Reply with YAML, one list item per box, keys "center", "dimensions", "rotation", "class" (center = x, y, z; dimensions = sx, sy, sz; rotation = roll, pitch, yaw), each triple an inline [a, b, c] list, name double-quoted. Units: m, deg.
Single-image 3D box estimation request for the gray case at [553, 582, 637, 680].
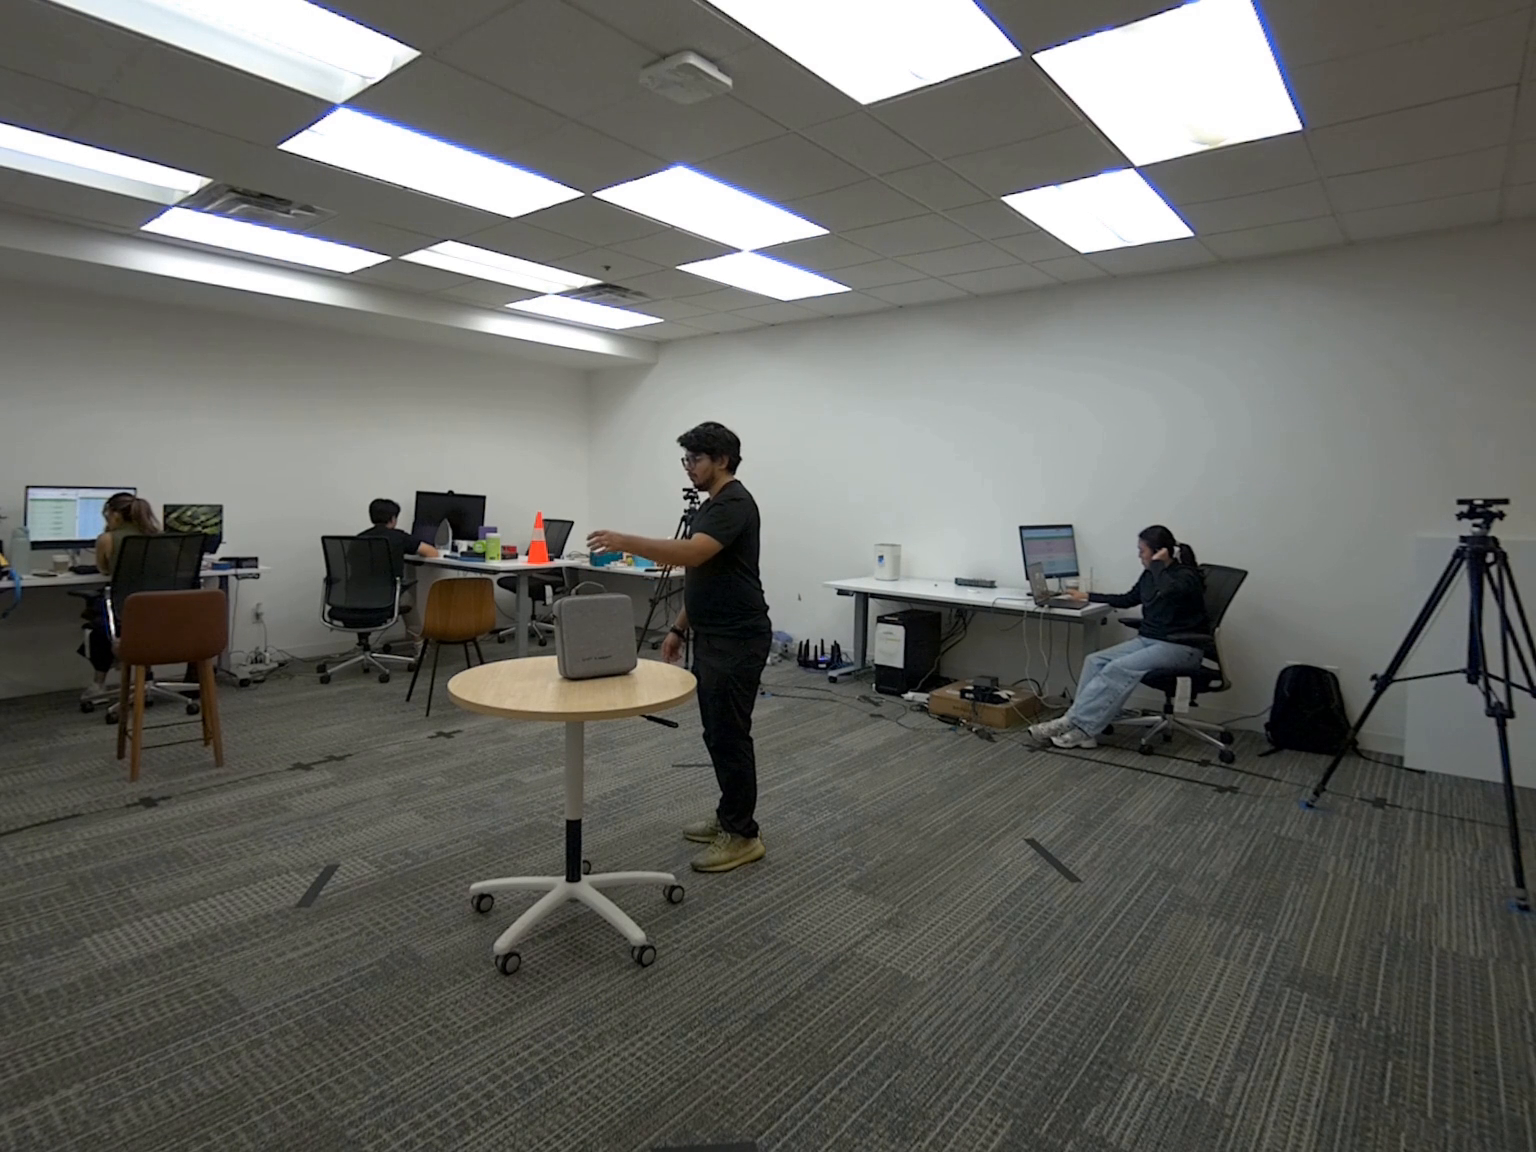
- center: [-0.567, 0.186, 2.739]
  dimensions: [0.250, 0.262, 0.106]
  rotation: [-3, -7, -34]
  class: "gray case"
